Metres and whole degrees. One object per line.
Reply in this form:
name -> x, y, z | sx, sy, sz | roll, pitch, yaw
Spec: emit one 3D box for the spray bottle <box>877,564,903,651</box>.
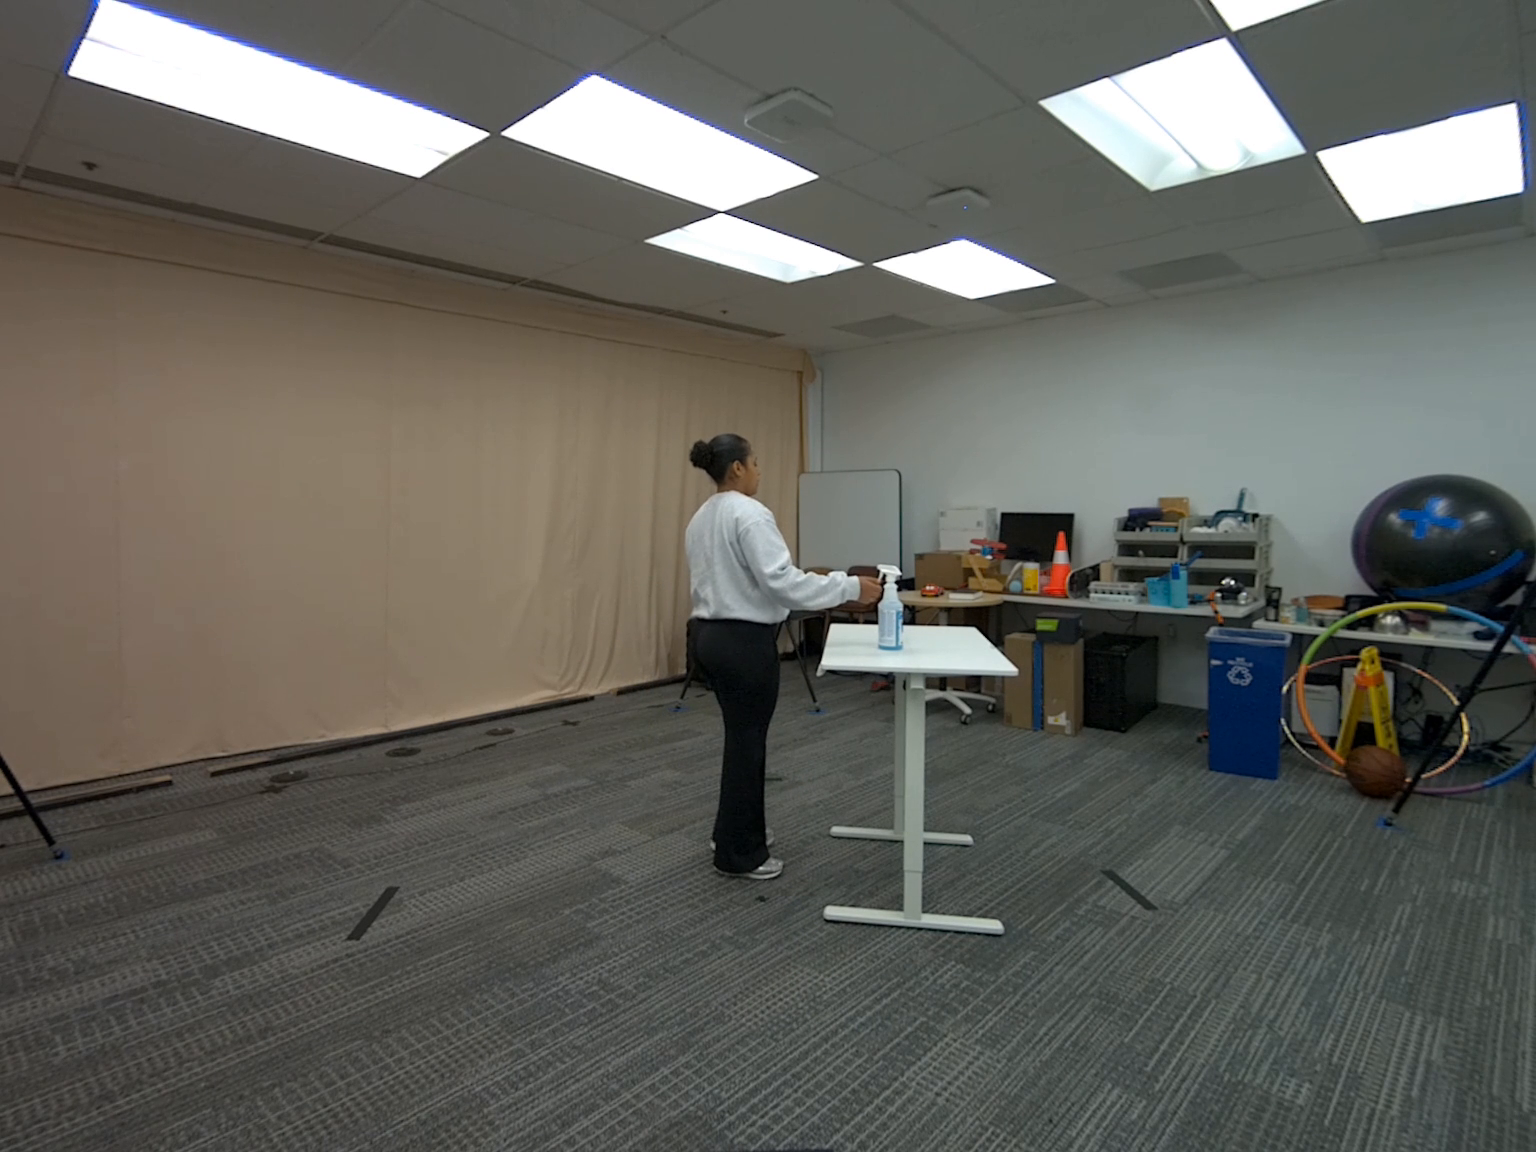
spray bottle -> 0.438, 0.113, 2.979 | 0.085, 0.297, 0.092 | -2, 2, -25
